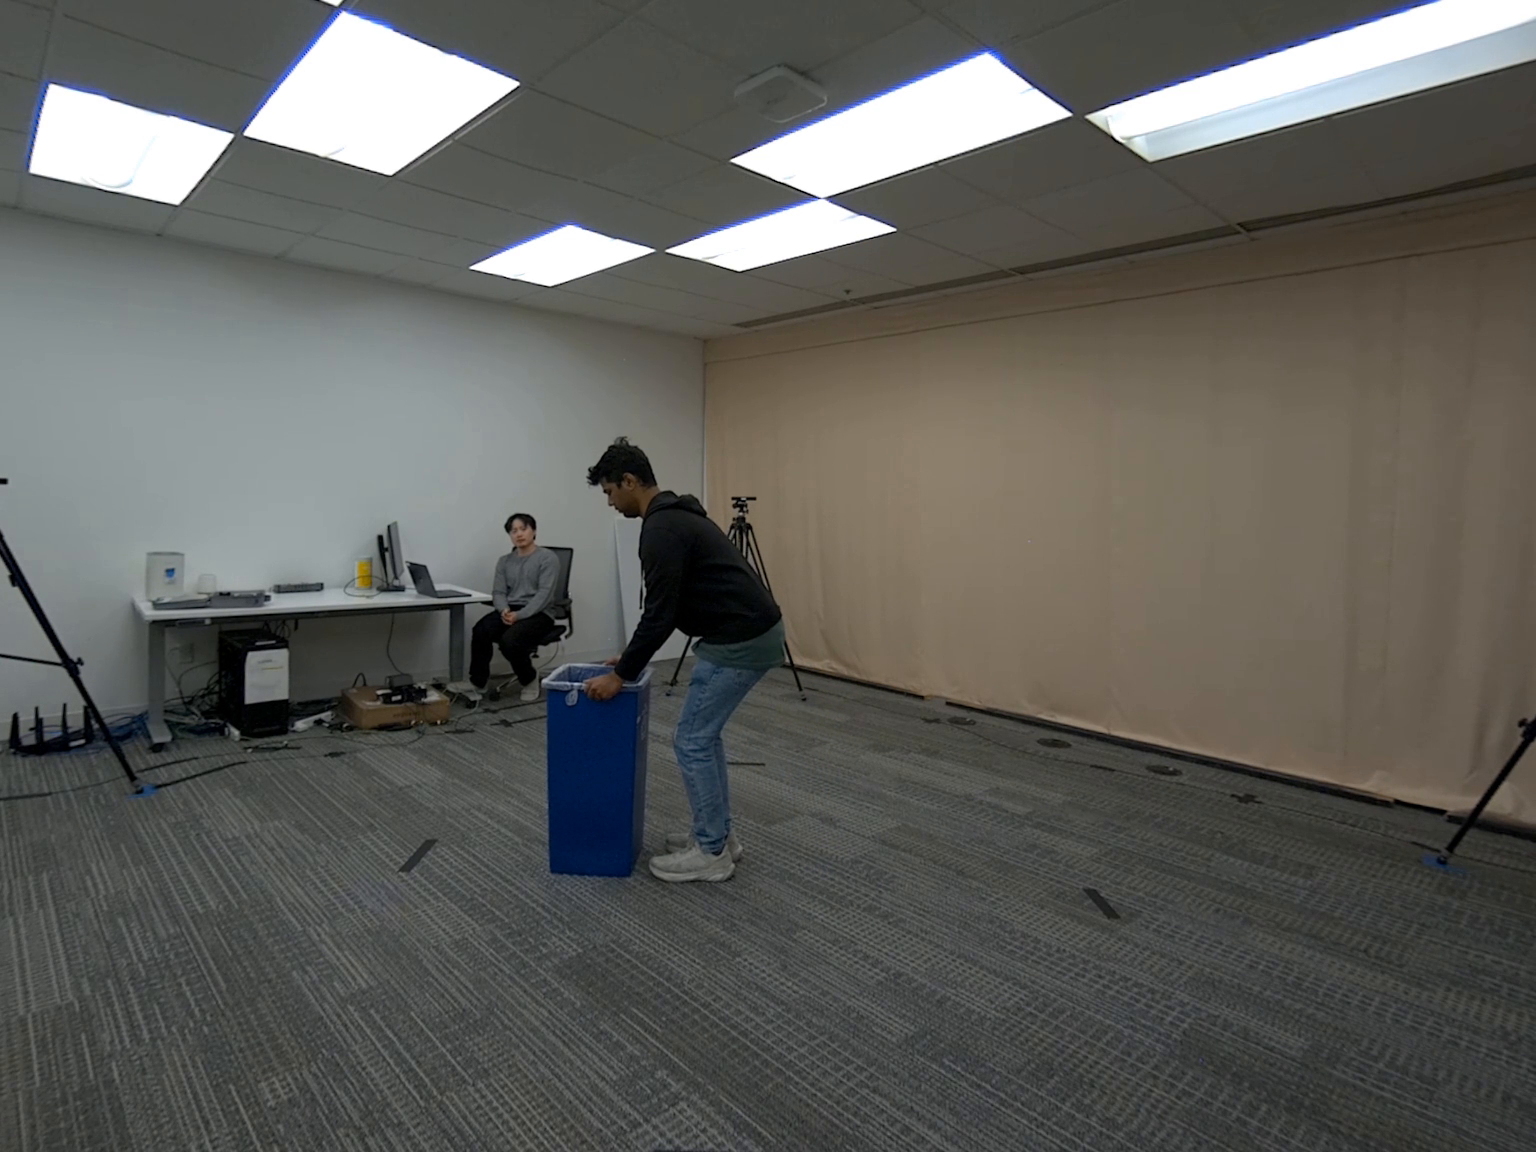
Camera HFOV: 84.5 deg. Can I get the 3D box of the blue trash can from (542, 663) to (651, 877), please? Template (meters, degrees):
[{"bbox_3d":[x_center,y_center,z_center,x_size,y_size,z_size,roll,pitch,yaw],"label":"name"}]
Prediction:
[{"bbox_3d":[-0.645,0.728,3.218,0.379,0.712,0.374,3,3,2],"label":"blue trash can"}]
